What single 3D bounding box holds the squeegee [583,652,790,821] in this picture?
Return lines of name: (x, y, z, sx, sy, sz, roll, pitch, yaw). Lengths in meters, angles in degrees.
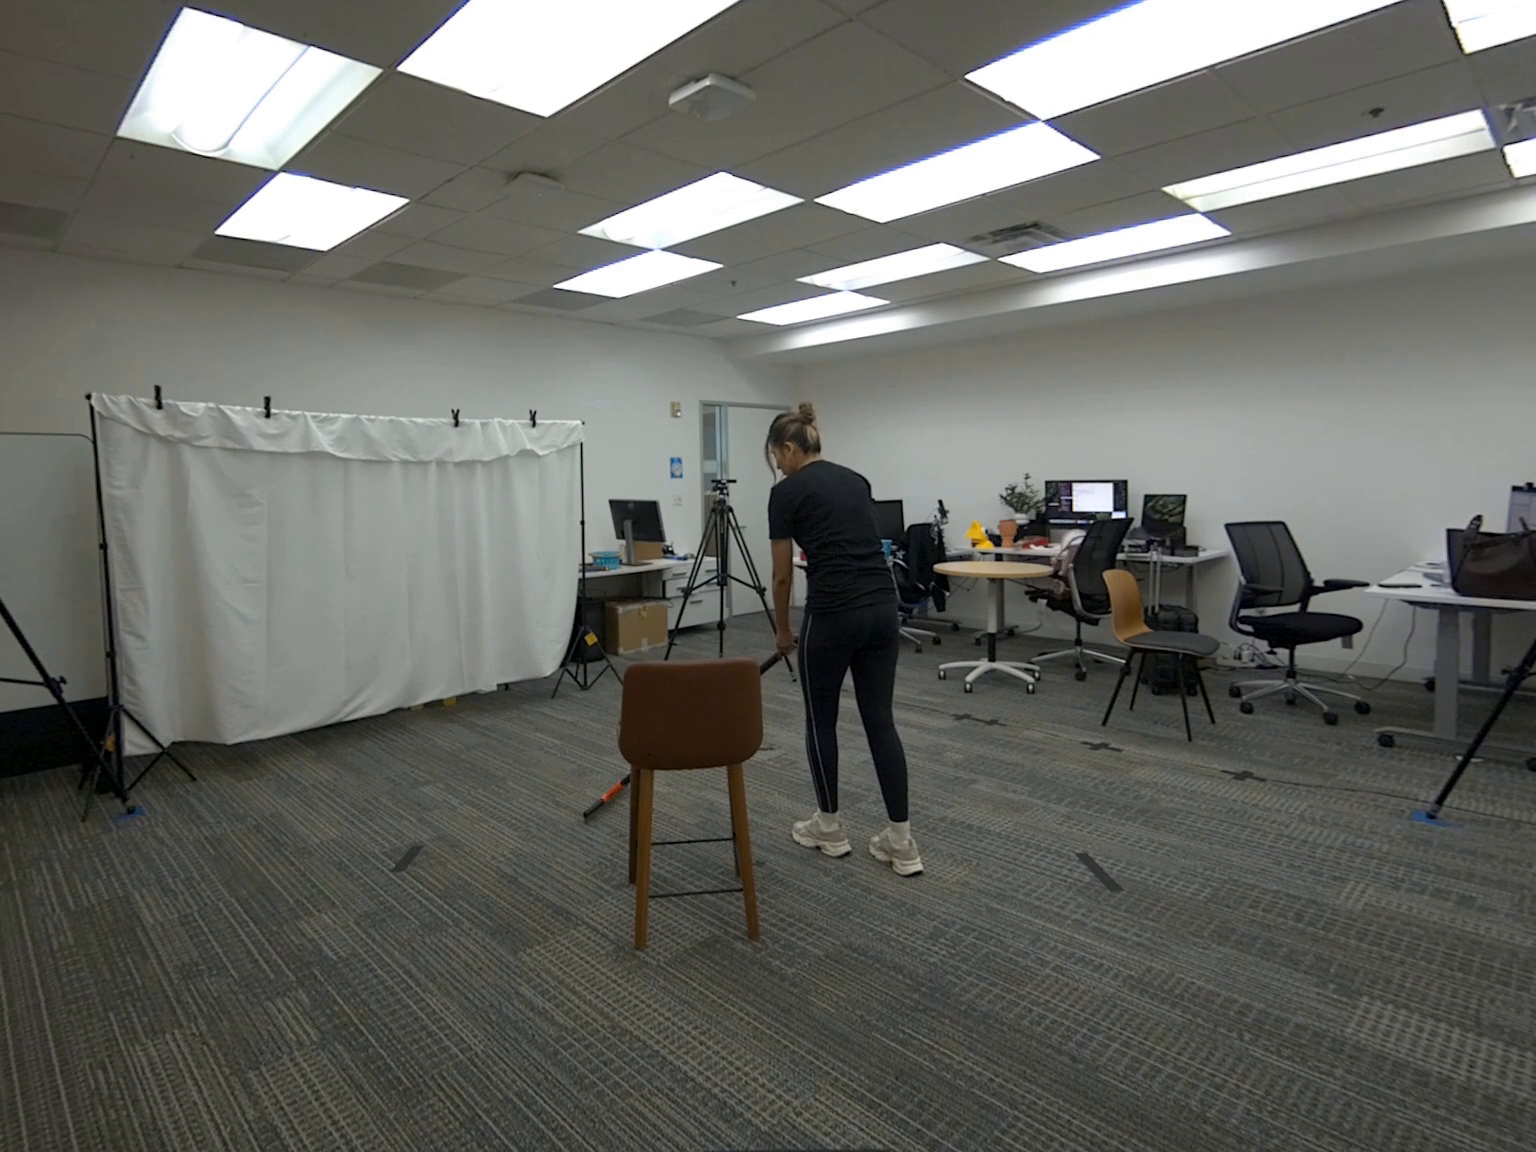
squeegee: (-0.160, 0.460, 3.505, 1.539, 0.053, 0.433, -43, -4, 13)
